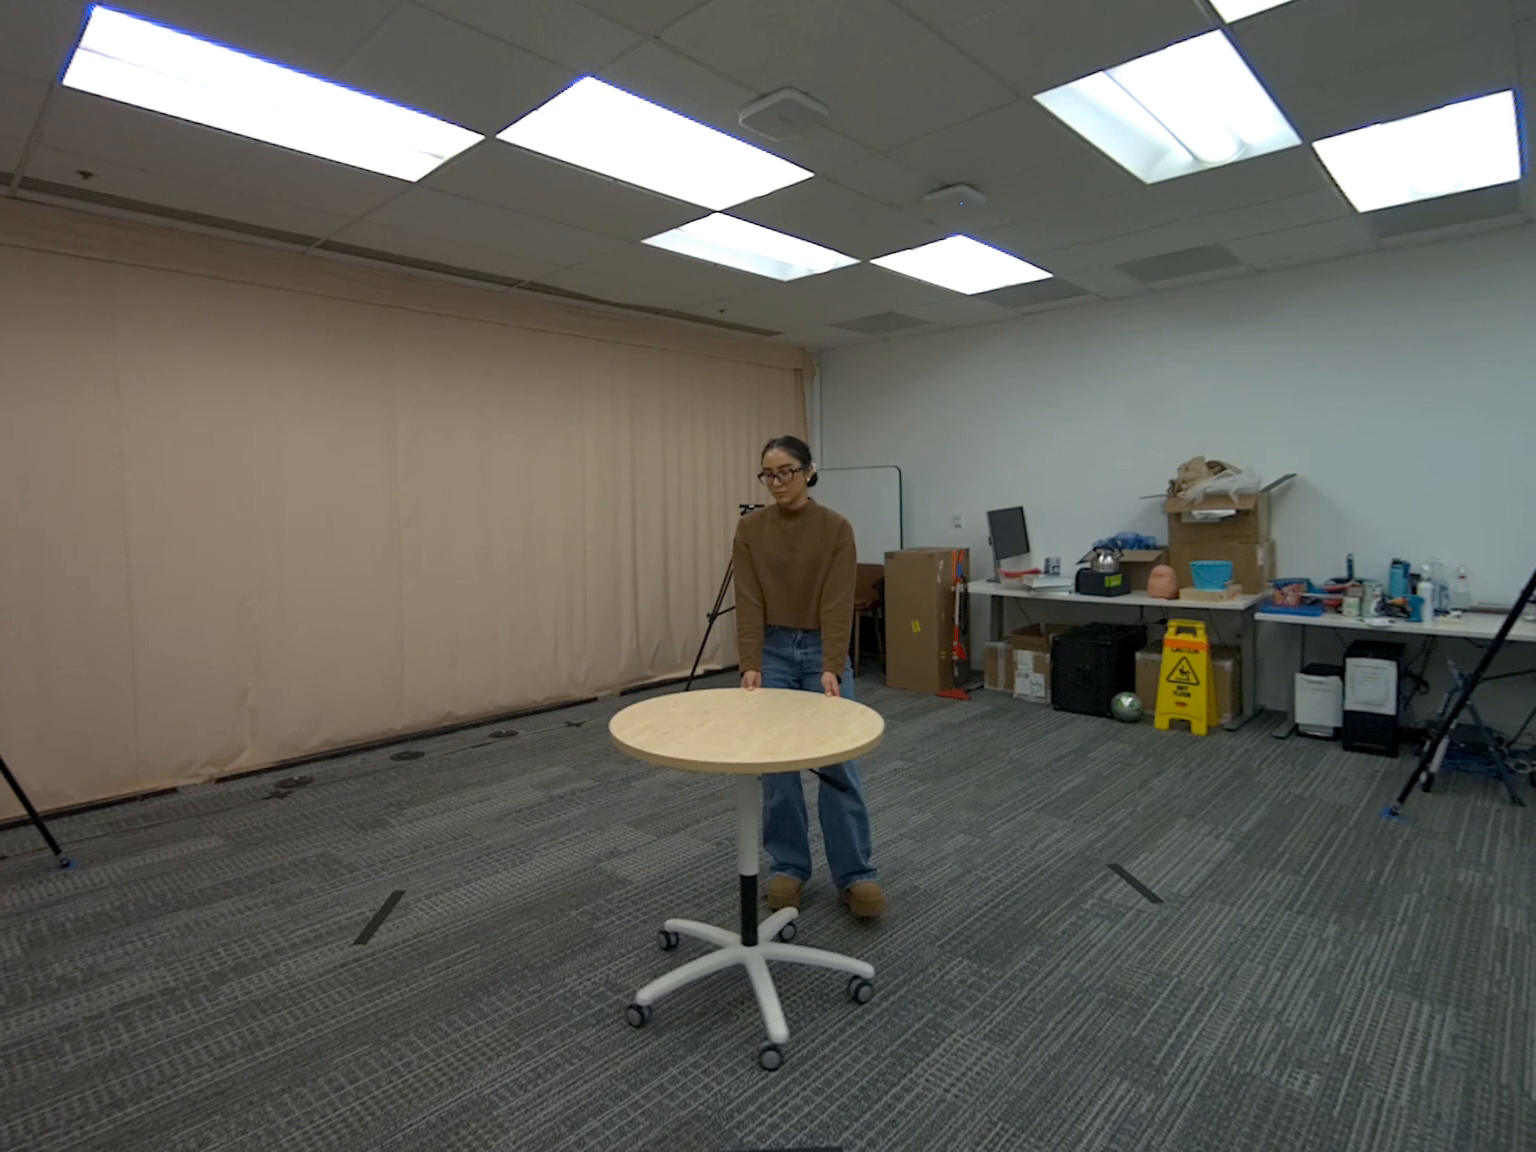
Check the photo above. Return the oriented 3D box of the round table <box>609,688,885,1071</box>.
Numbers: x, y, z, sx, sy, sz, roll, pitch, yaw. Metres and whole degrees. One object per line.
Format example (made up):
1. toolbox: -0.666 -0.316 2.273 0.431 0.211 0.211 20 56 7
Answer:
1. round table: -0.067 0.792 2.421 0.784 0.784 0.788 -1 4 -2
